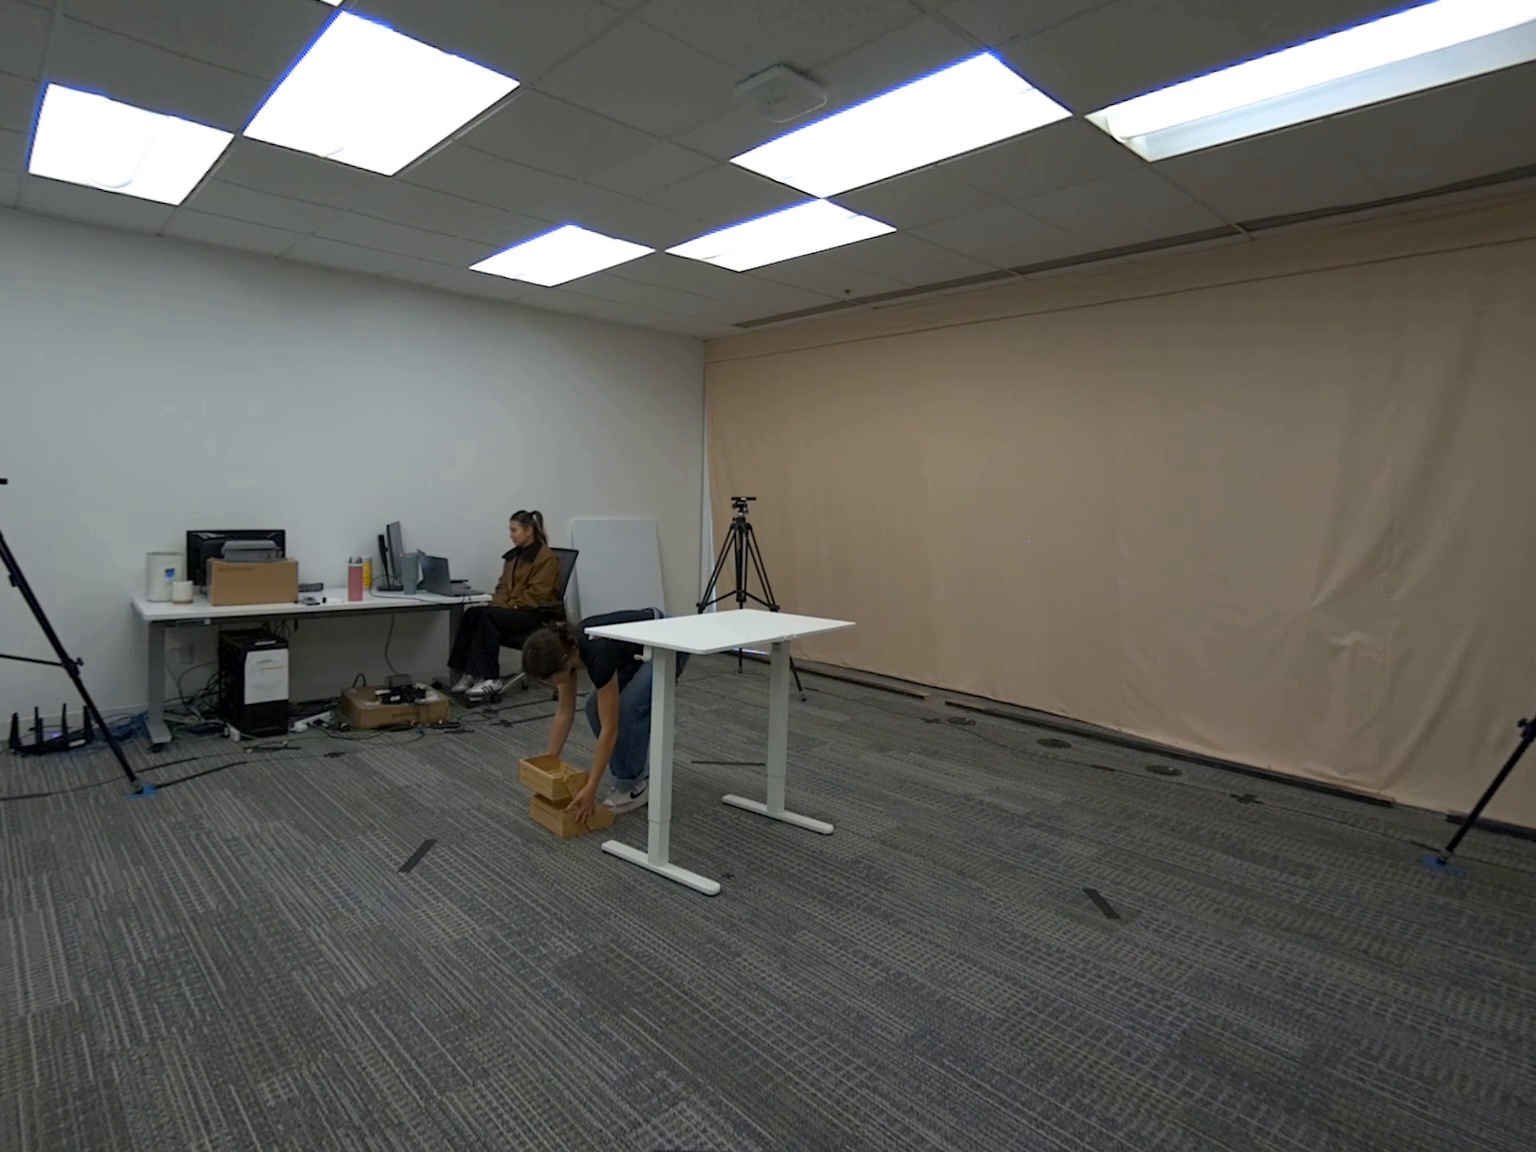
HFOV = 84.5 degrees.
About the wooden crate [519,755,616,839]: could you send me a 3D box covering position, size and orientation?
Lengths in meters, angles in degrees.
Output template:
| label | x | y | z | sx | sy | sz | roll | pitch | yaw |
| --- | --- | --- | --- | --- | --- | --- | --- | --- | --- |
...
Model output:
| label | x | y | z | sx | sy | sz | roll | pitch | yaw |
| --- | --- | --- | --- | --- | --- | --- | --- | --- | --- |
| wooden crate | -0.865 | 0.915 | 3.576 | 0.295 | 0.272 | 0.333 | -3 | 6 | -42 |
